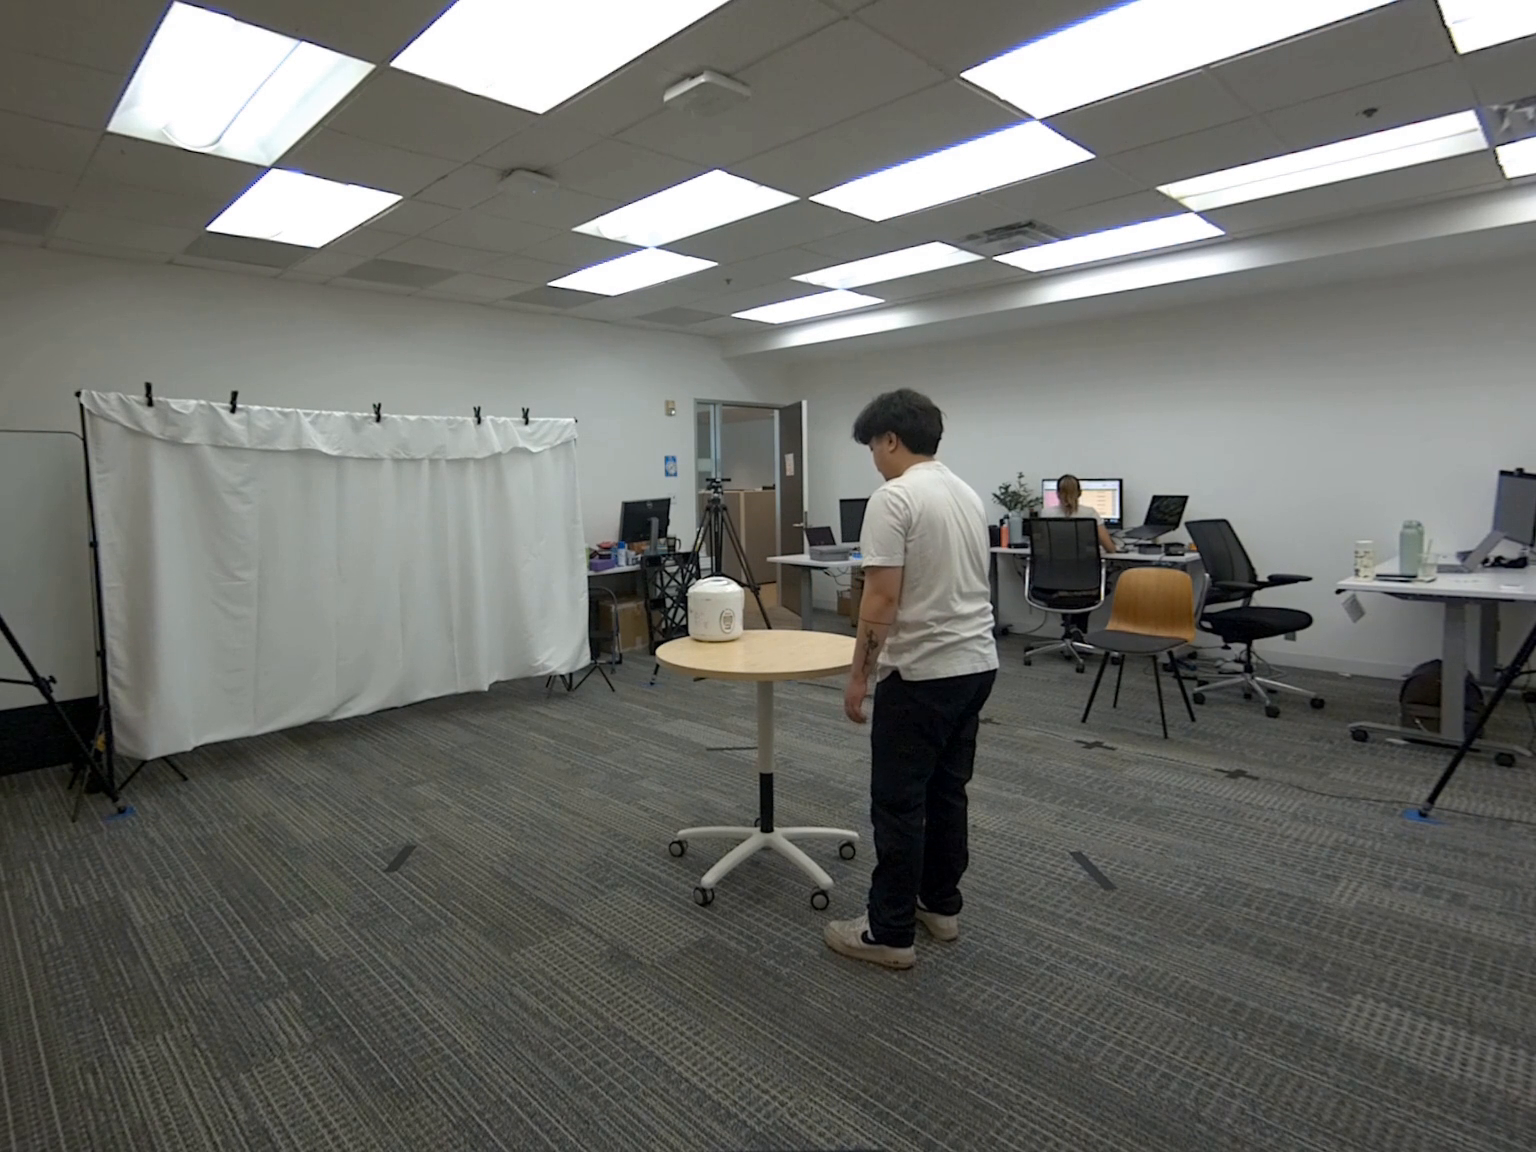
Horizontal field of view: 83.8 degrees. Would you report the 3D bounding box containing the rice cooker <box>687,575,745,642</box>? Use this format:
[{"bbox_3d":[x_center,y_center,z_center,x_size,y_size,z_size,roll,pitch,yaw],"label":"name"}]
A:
[{"bbox_3d":[-0.192,0.120,3.215,0.216,0.232,0.222,-3,3,-26],"label":"rice cooker"}]
